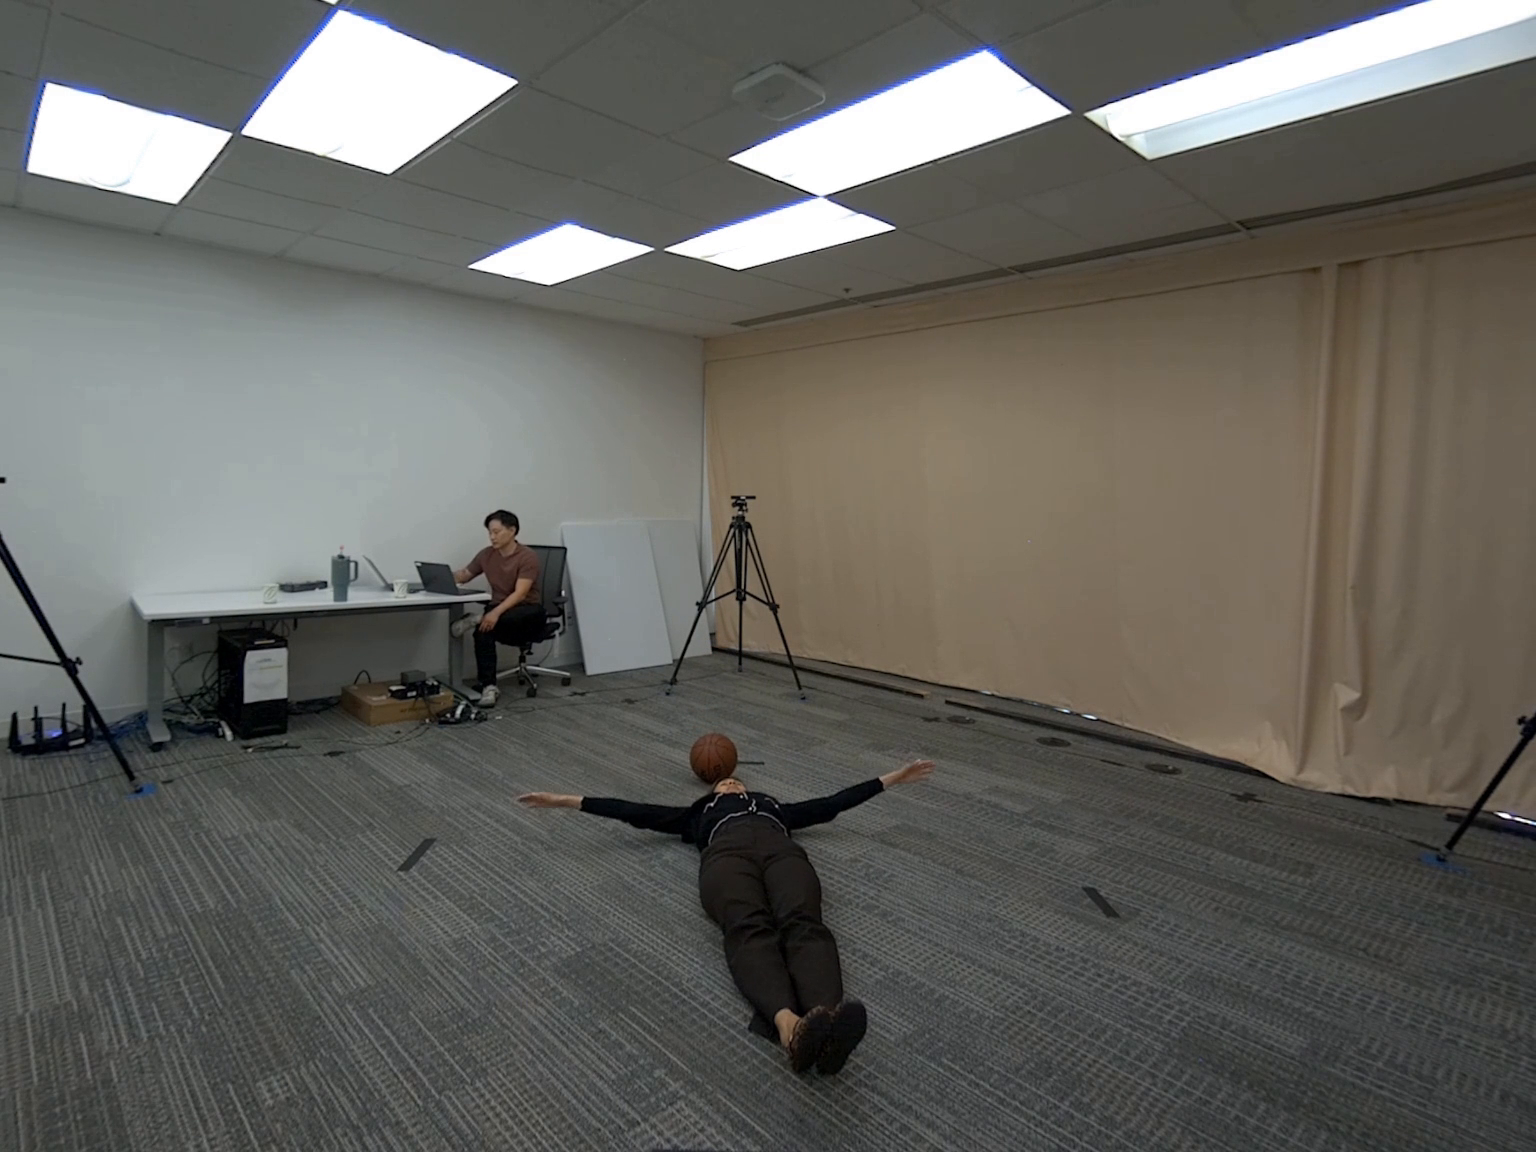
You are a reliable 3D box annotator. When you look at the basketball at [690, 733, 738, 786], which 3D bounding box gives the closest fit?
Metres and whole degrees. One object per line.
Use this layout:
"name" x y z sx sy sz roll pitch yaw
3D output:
"basketball" -0.279 0.890 4.133 0.236 0.235 0.237 1 4 -1
